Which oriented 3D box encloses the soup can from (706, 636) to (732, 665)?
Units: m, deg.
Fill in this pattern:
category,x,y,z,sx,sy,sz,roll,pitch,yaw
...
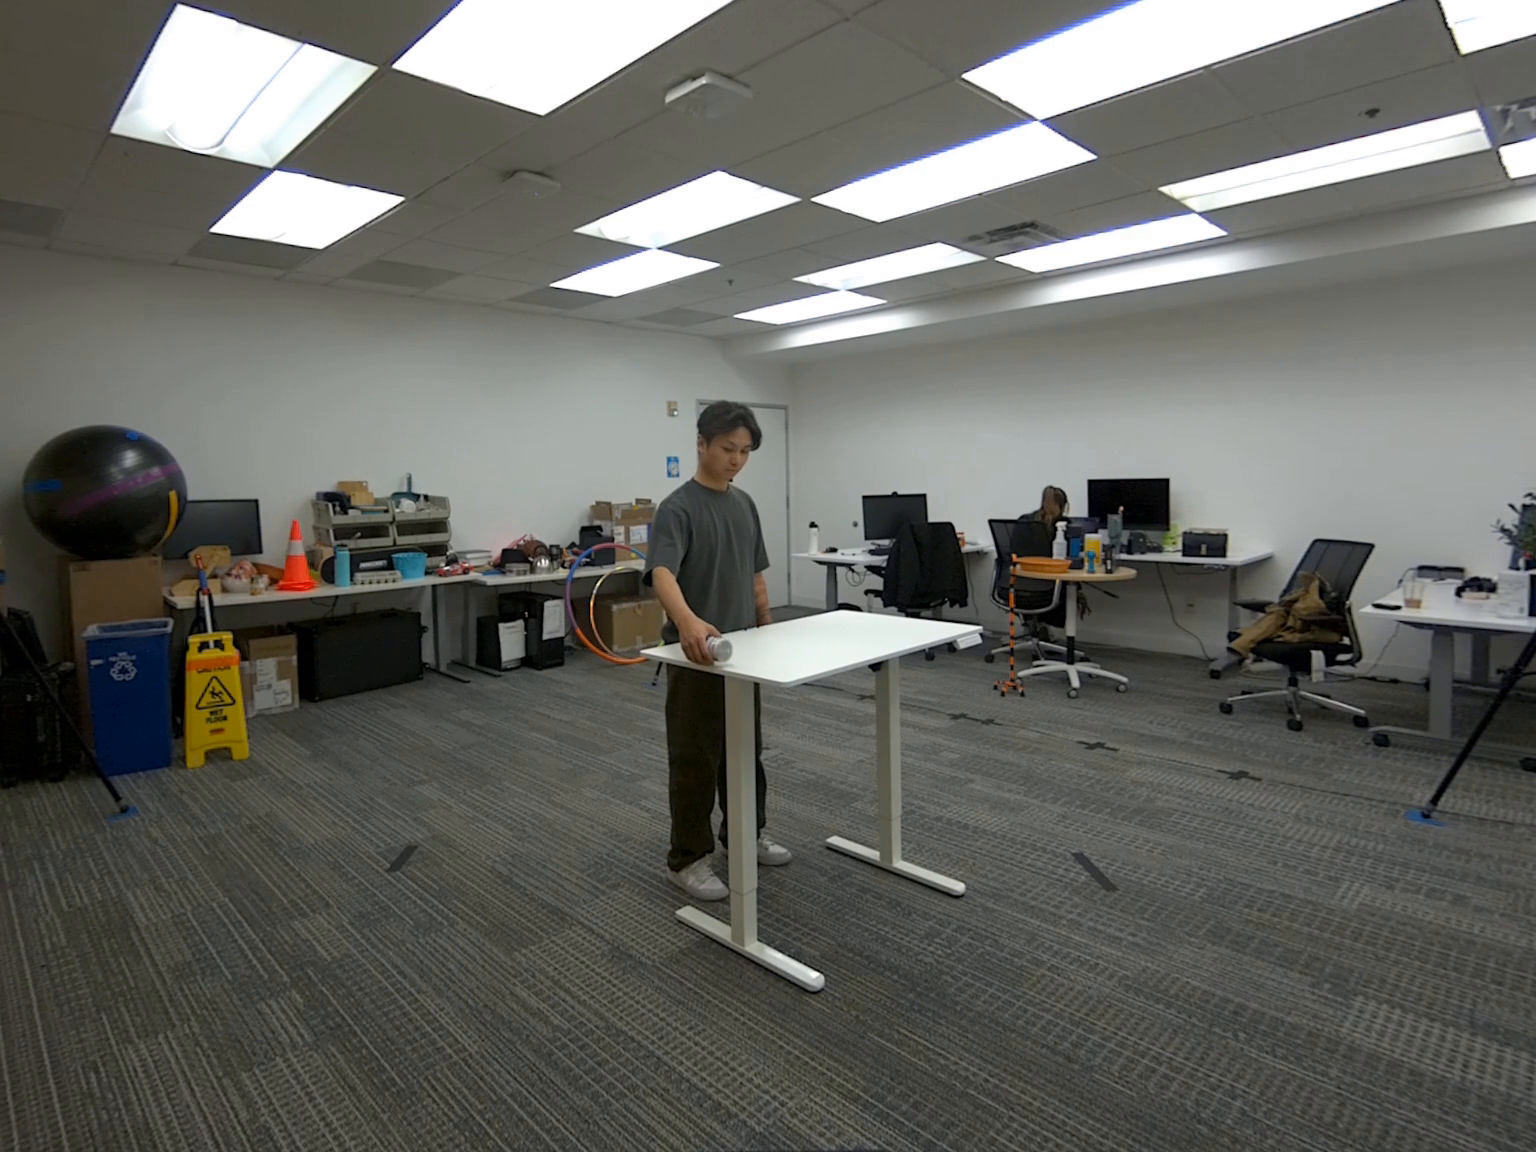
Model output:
category,x,y,z,sx,sy,sz,roll,pitch,yaw
soup can,-0.163,0.210,2.396,0.066,0.067,0.124,-3,1,-23
